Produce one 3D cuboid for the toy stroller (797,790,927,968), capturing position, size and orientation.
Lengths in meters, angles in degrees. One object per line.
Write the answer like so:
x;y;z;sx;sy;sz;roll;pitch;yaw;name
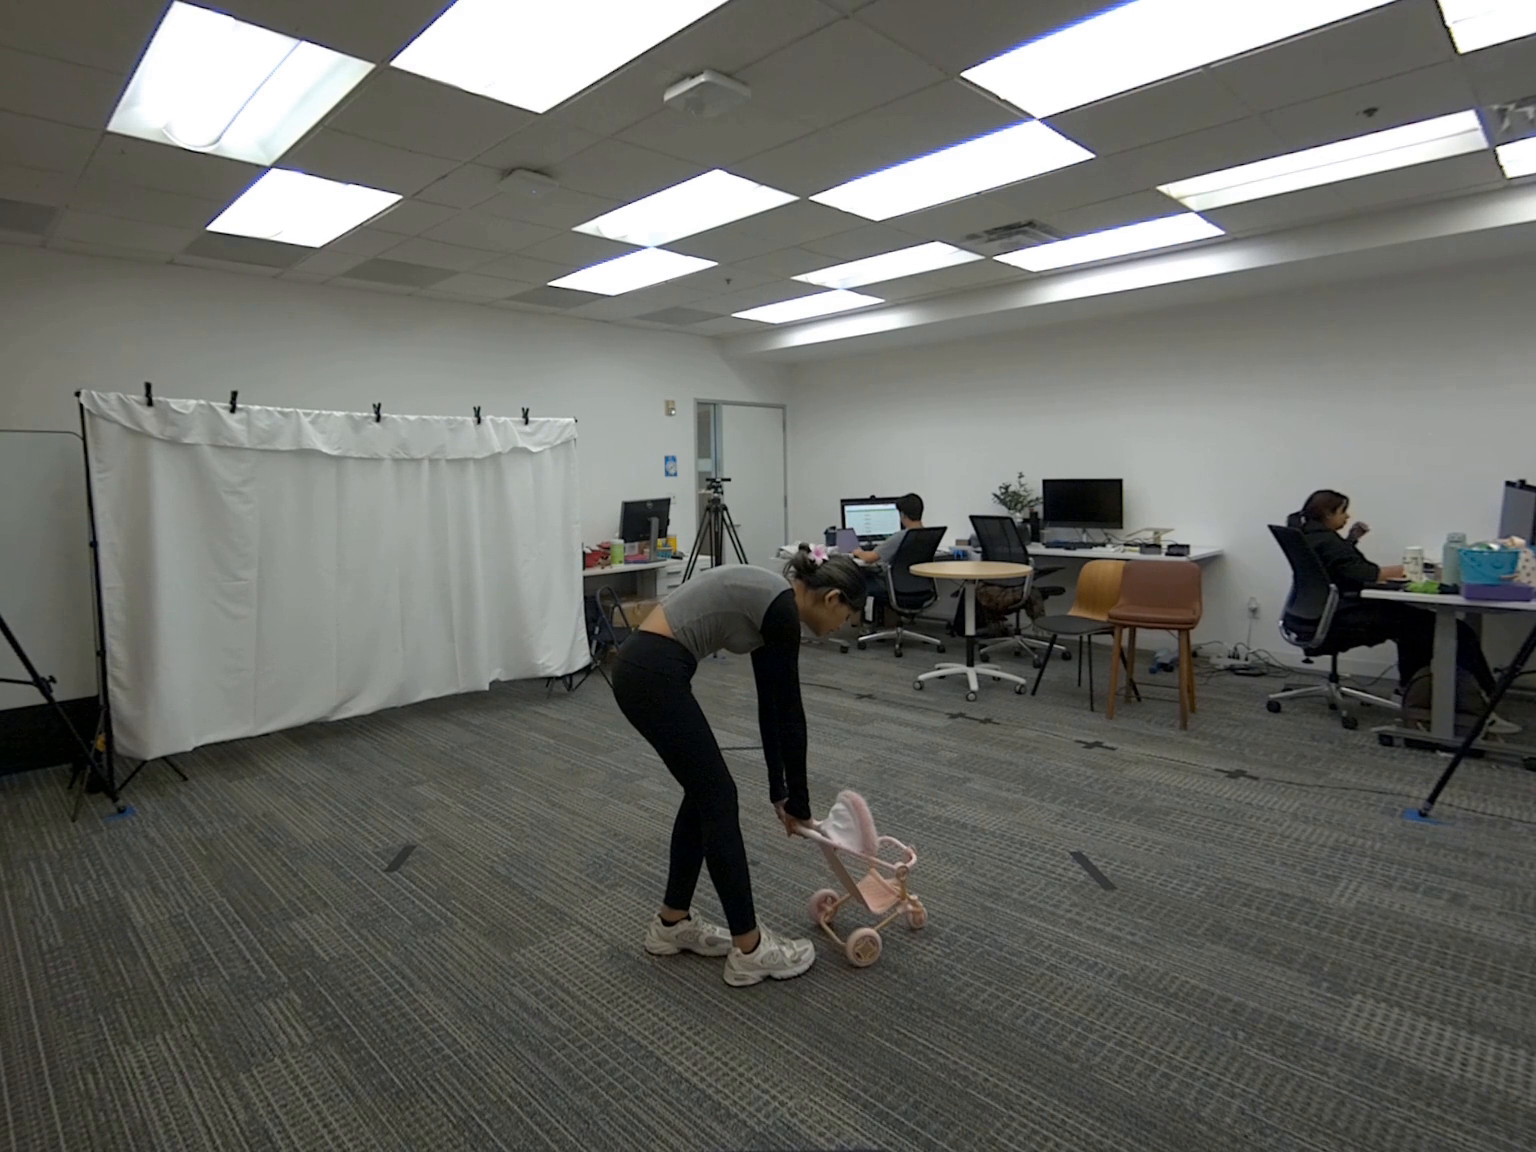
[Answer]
0.282;0.875;2.563;0.338;0.530;0.287;-19;9;-15;toy stroller
